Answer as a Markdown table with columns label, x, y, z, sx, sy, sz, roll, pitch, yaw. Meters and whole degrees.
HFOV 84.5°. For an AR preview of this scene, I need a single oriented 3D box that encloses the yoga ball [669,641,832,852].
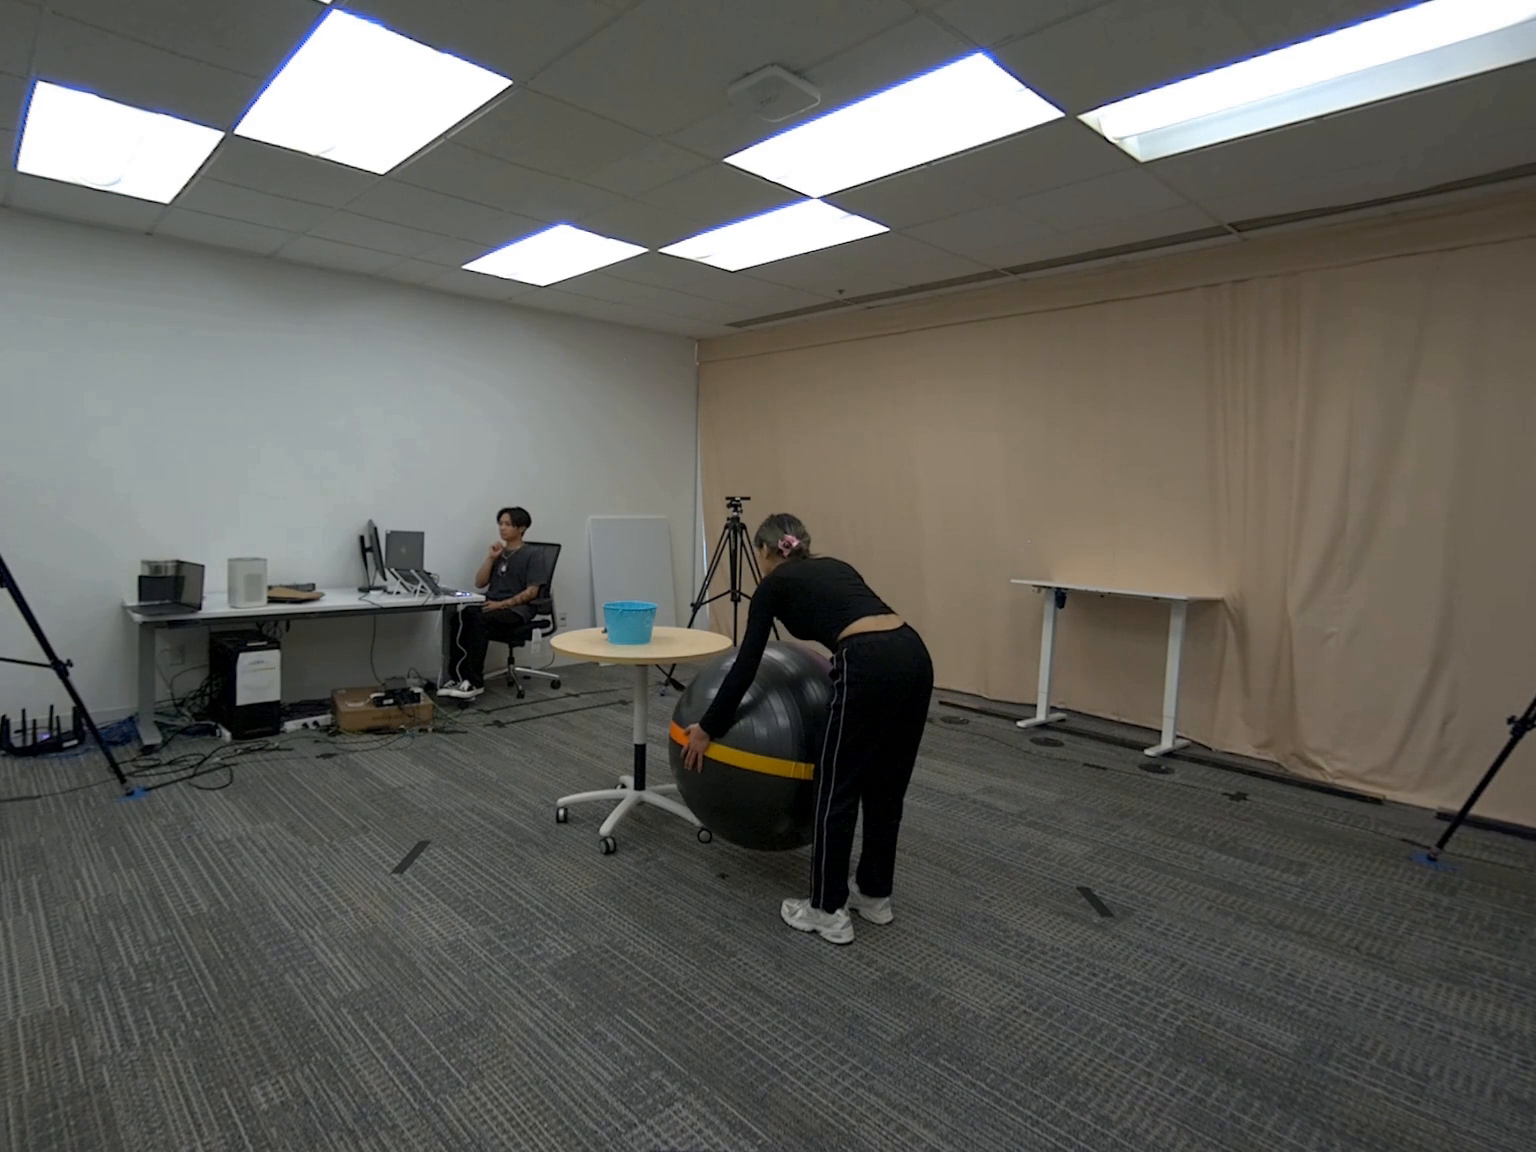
| label | x | y | z | sx | sy | sz | roll | pitch | yaw |
| --- | --- | --- | --- | --- | --- | --- | --- | --- | --- |
| yoga ball | 0.005 | 0.625 | 3.131 | 0.757 | 0.756 | 0.761 | 1 | 4 | -1 |
